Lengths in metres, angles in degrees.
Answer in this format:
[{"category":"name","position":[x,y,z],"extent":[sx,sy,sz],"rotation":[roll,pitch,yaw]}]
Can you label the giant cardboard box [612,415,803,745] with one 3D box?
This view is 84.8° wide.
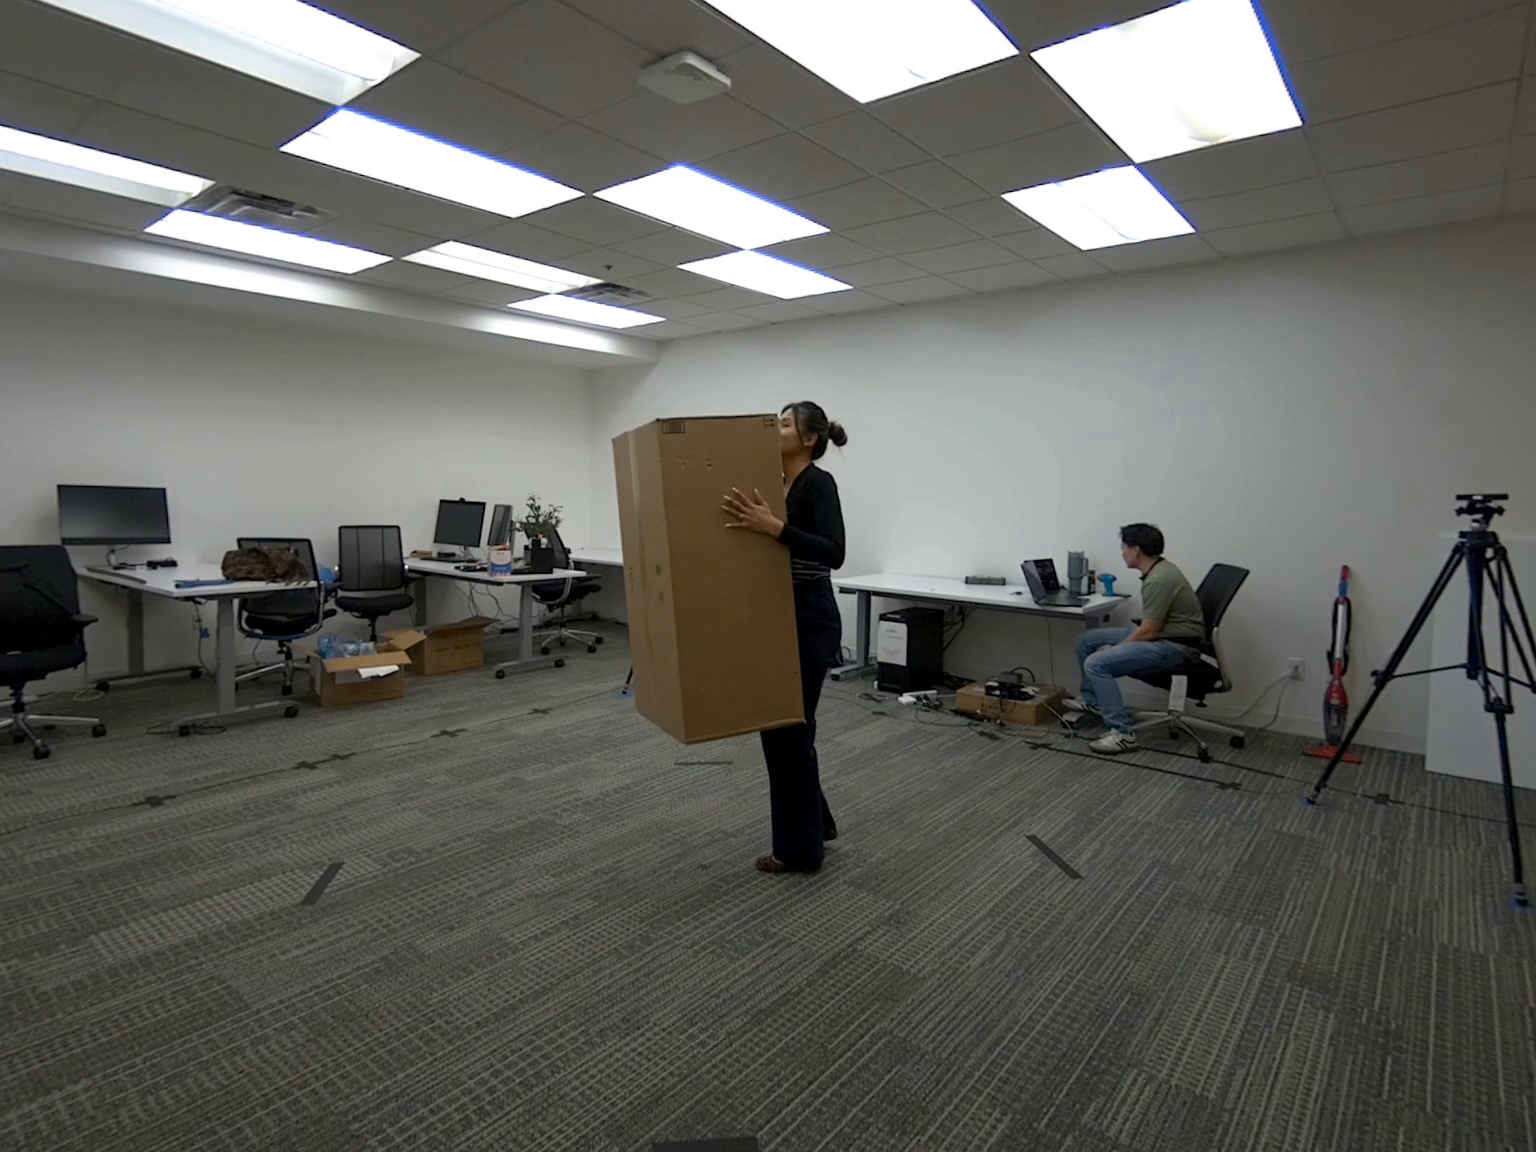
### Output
[{"category":"giant cardboard box","position":[-0.235,-0.015,2.981],"extent":[0.418,1.024,0.590],"rotation":[-6,2,-23]}]
